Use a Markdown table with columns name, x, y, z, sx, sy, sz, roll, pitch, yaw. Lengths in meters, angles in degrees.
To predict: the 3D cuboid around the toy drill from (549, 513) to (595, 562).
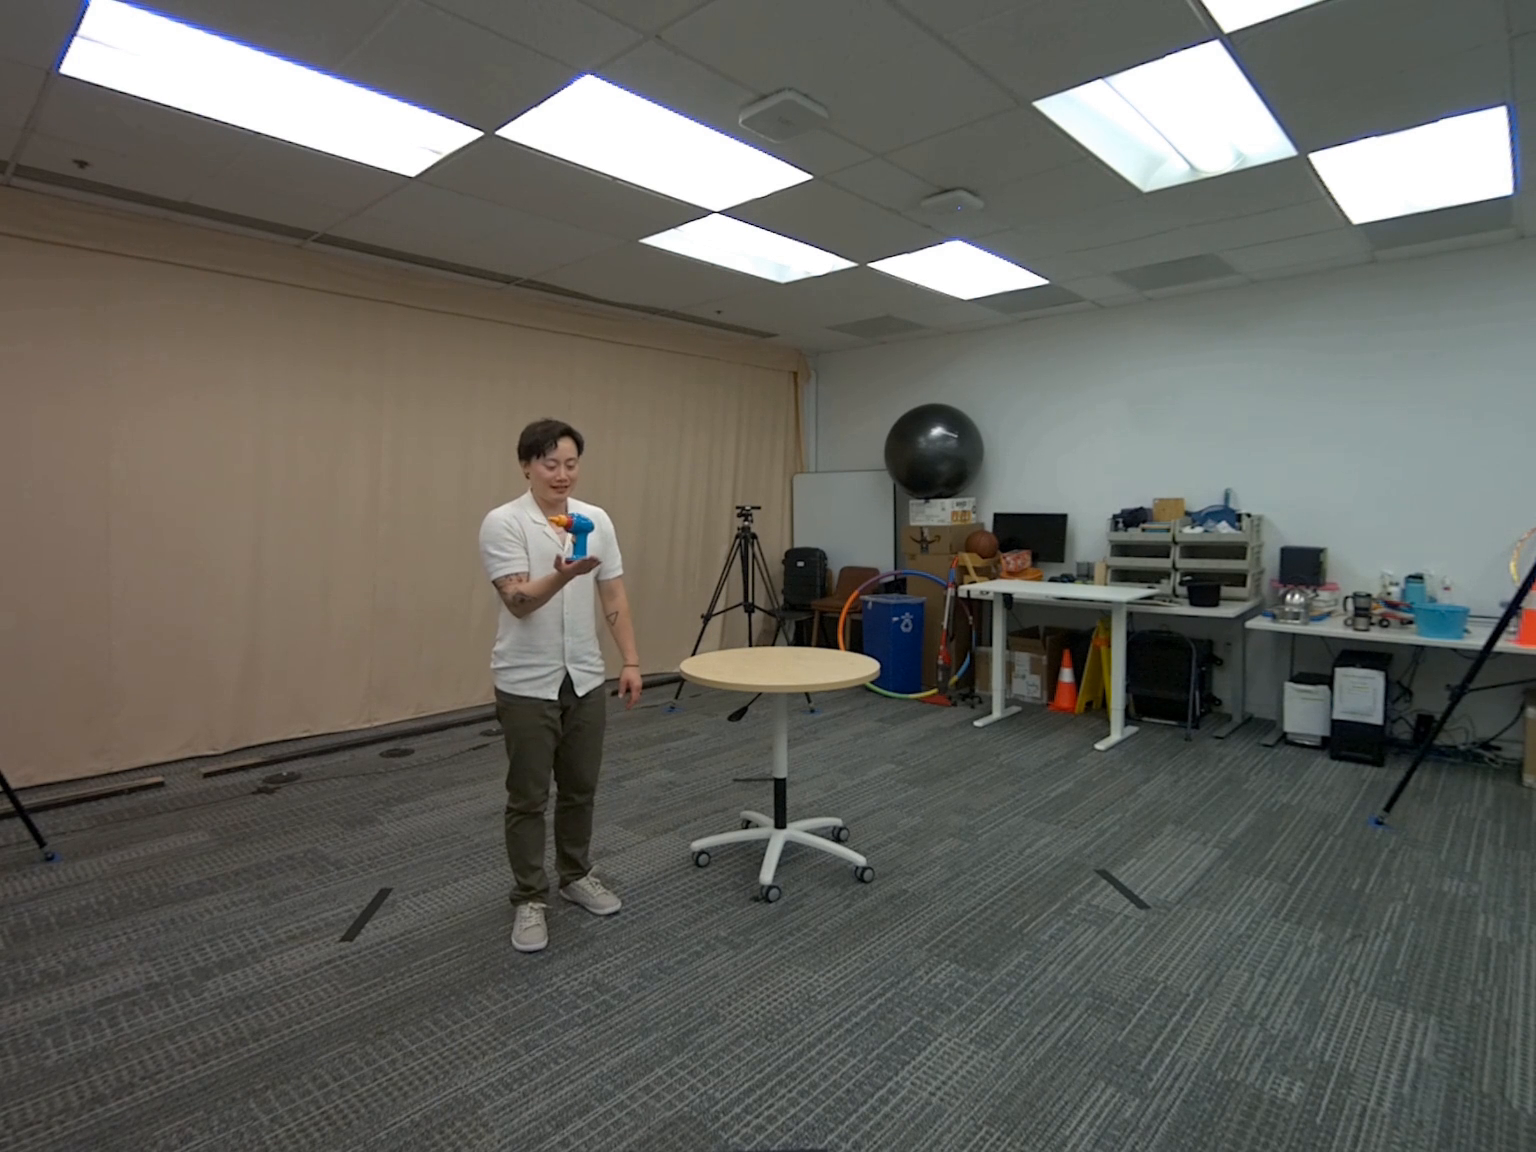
| name | x | y | z | sx | sy | sz | roll | pitch | yaw |
| --- | --- | --- | --- | --- | --- | --- | --- | --- | --- |
| toy drill | -0.568 | -0.111 | 2.401 | 0.063 | 0.146 | 0.164 | 2 | -5 | 33 |
